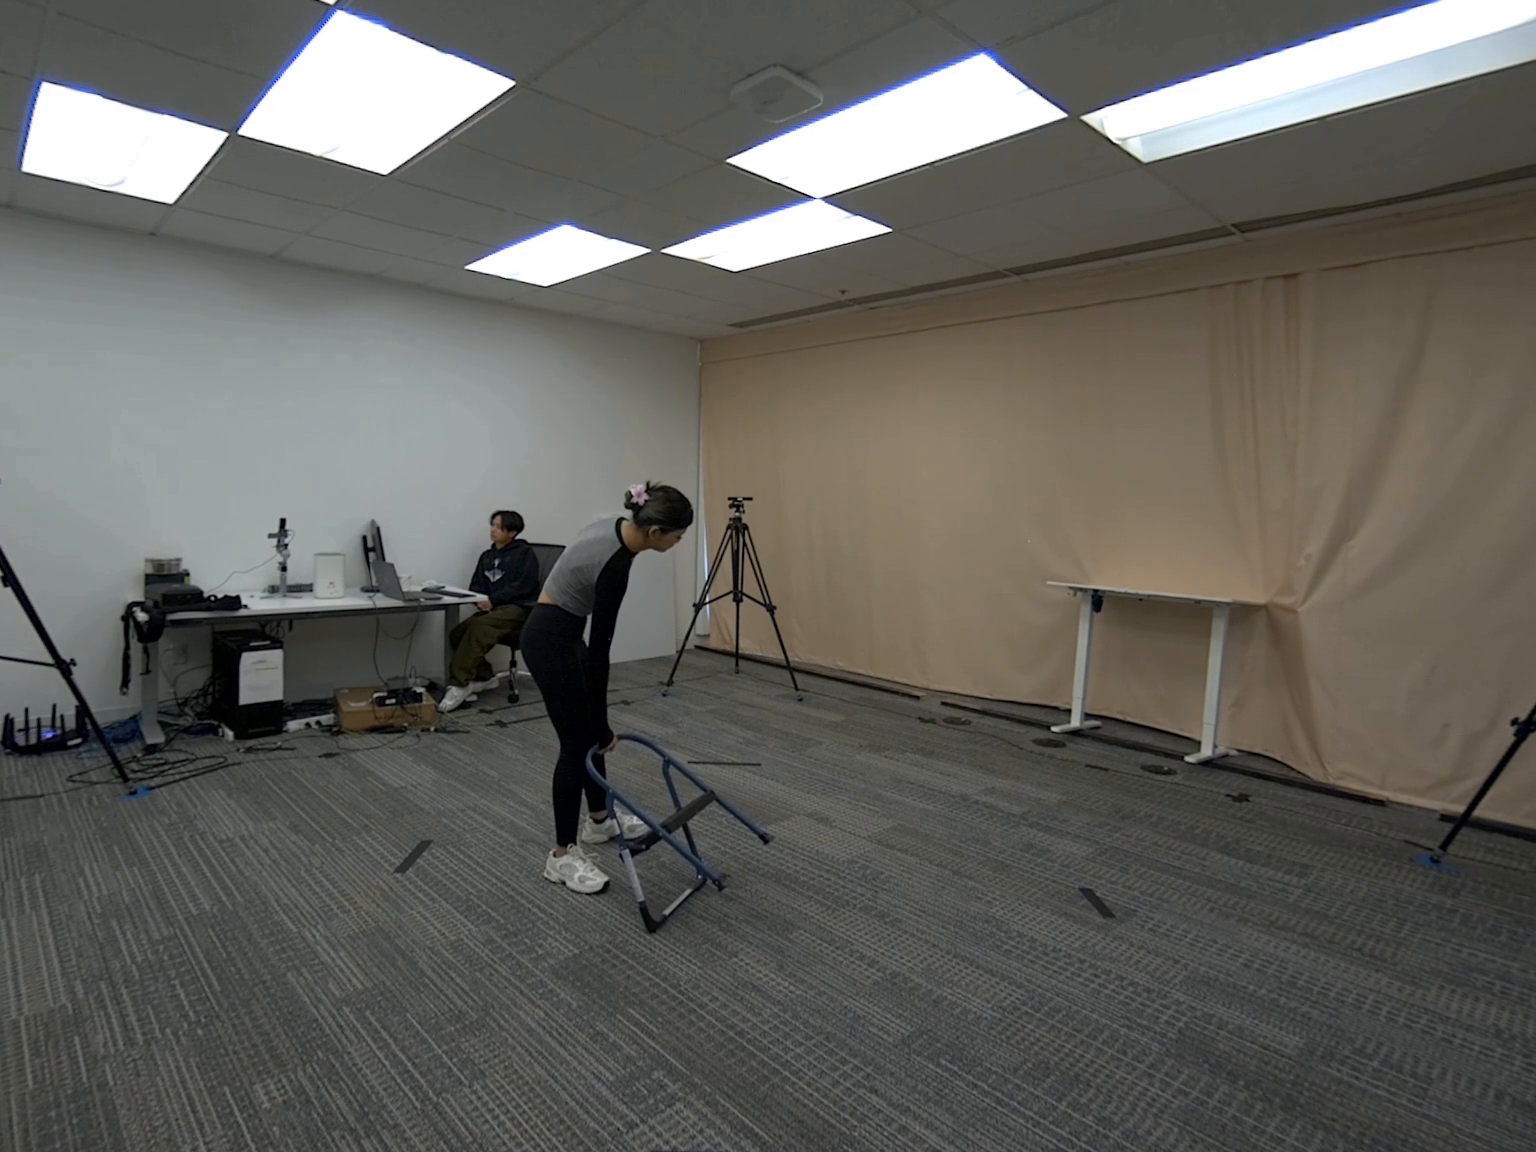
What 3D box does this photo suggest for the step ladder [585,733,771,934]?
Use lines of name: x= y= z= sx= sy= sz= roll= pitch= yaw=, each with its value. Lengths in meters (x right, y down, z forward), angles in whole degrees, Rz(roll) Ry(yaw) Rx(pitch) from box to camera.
step ladder: x=-0.353 y=0.792 z=2.875 sx=0.350 sy=0.614 sz=0.424 roll=-39 pitch=-12 yaw=20
